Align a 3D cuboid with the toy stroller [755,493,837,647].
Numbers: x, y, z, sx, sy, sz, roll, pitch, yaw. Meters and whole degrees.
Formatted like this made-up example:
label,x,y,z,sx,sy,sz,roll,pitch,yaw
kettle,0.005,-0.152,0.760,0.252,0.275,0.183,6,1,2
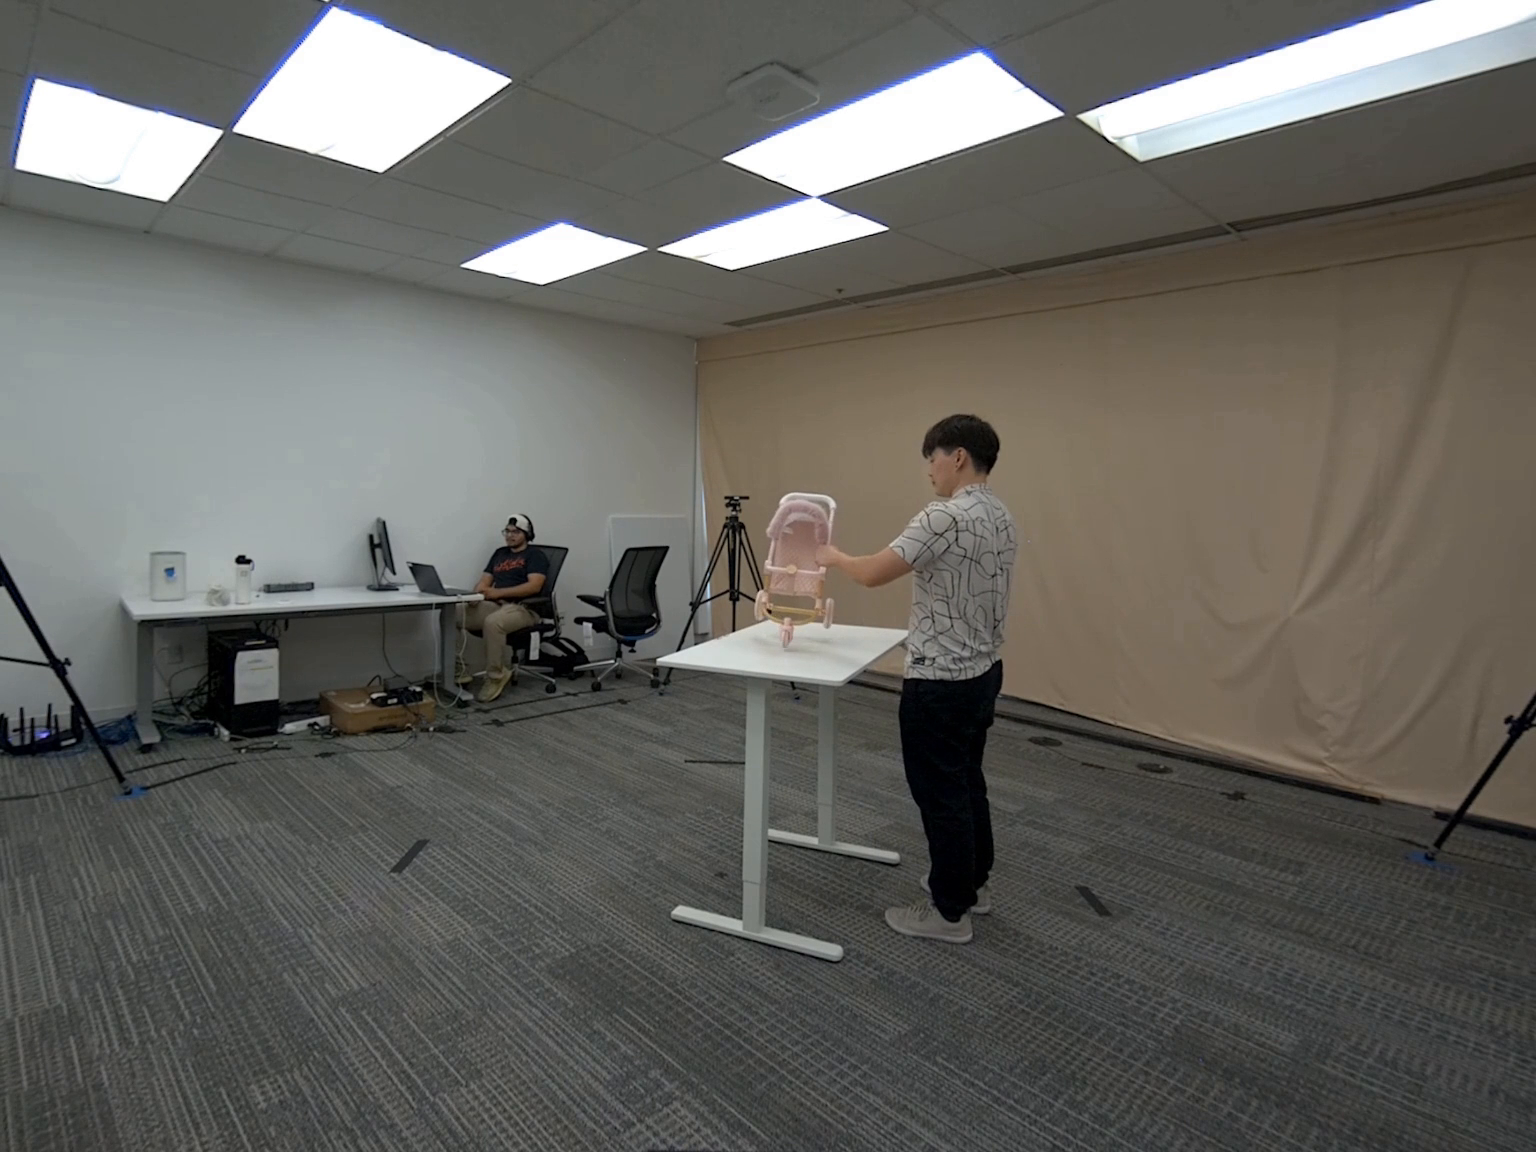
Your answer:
label,x,y,z,sx,sy,sz,roll,pitch,yaw
toy stroller,0.082,-0.032,2.939,0.284,0.534,0.338,8,2,11
